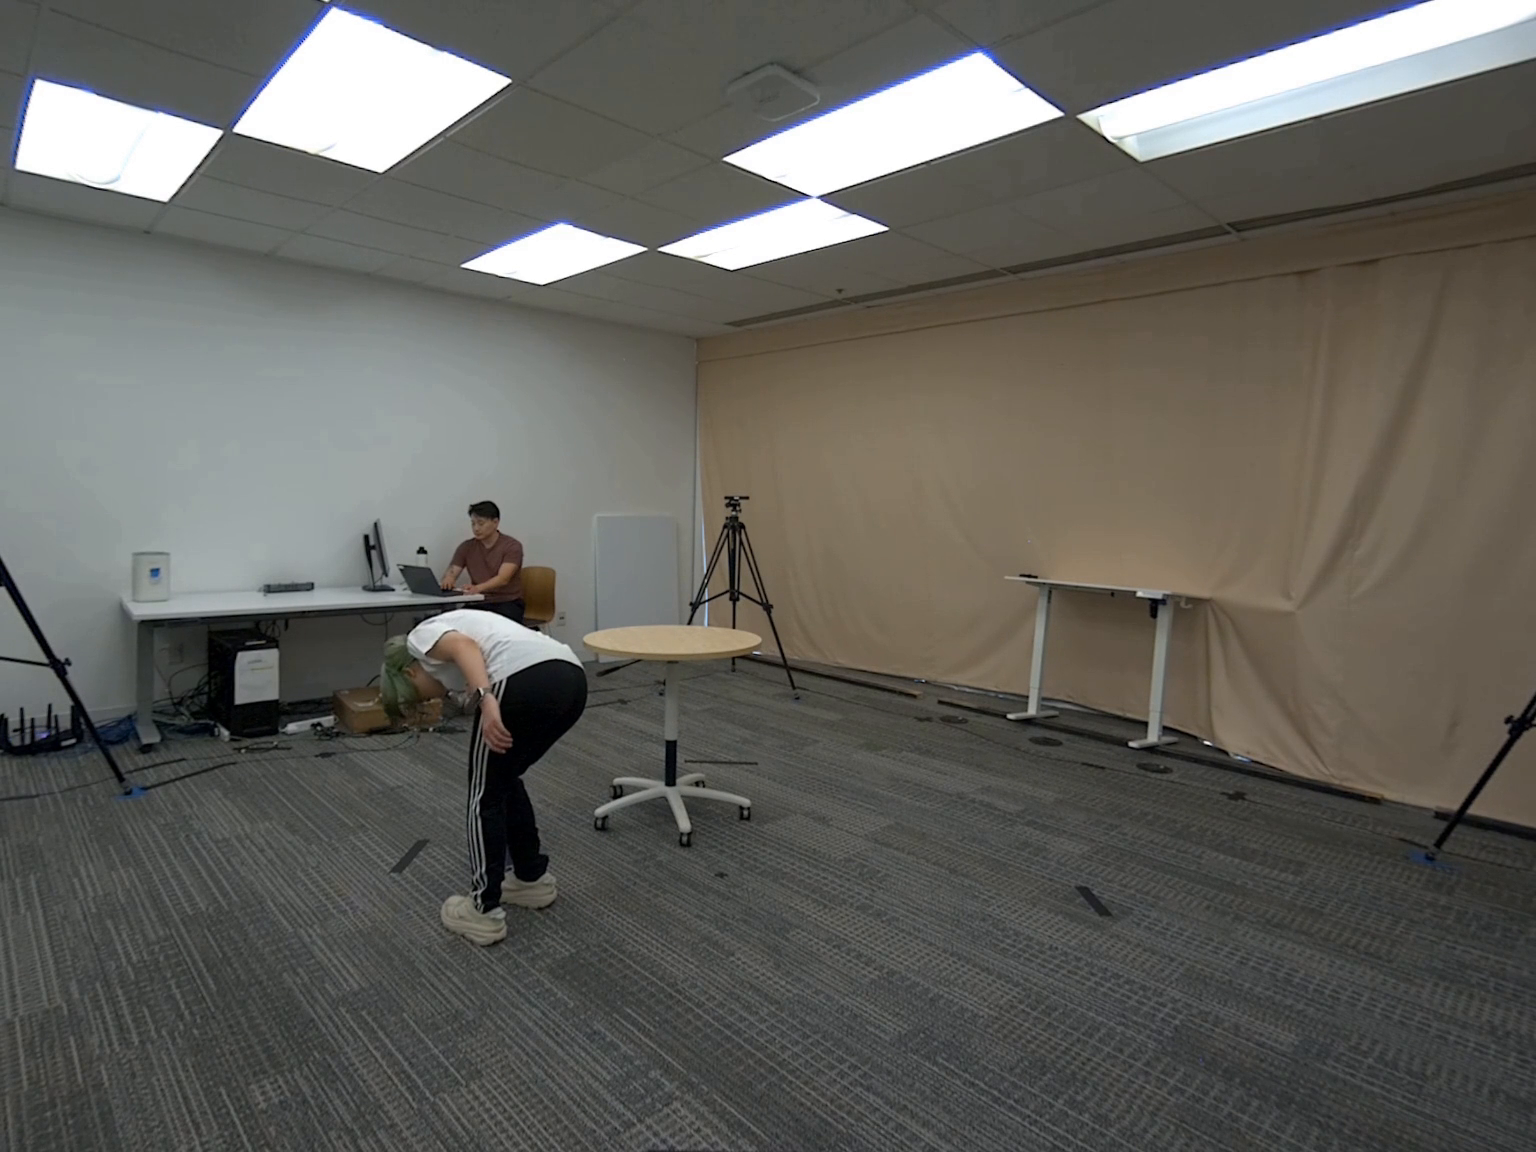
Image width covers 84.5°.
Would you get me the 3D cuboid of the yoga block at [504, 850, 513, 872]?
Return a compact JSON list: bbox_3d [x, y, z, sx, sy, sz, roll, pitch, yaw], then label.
[{"bbox_3d":[-1.006,1.012,3.108,0.235,0.149,0.075,3,2,38],"label":"yoga block"}]
